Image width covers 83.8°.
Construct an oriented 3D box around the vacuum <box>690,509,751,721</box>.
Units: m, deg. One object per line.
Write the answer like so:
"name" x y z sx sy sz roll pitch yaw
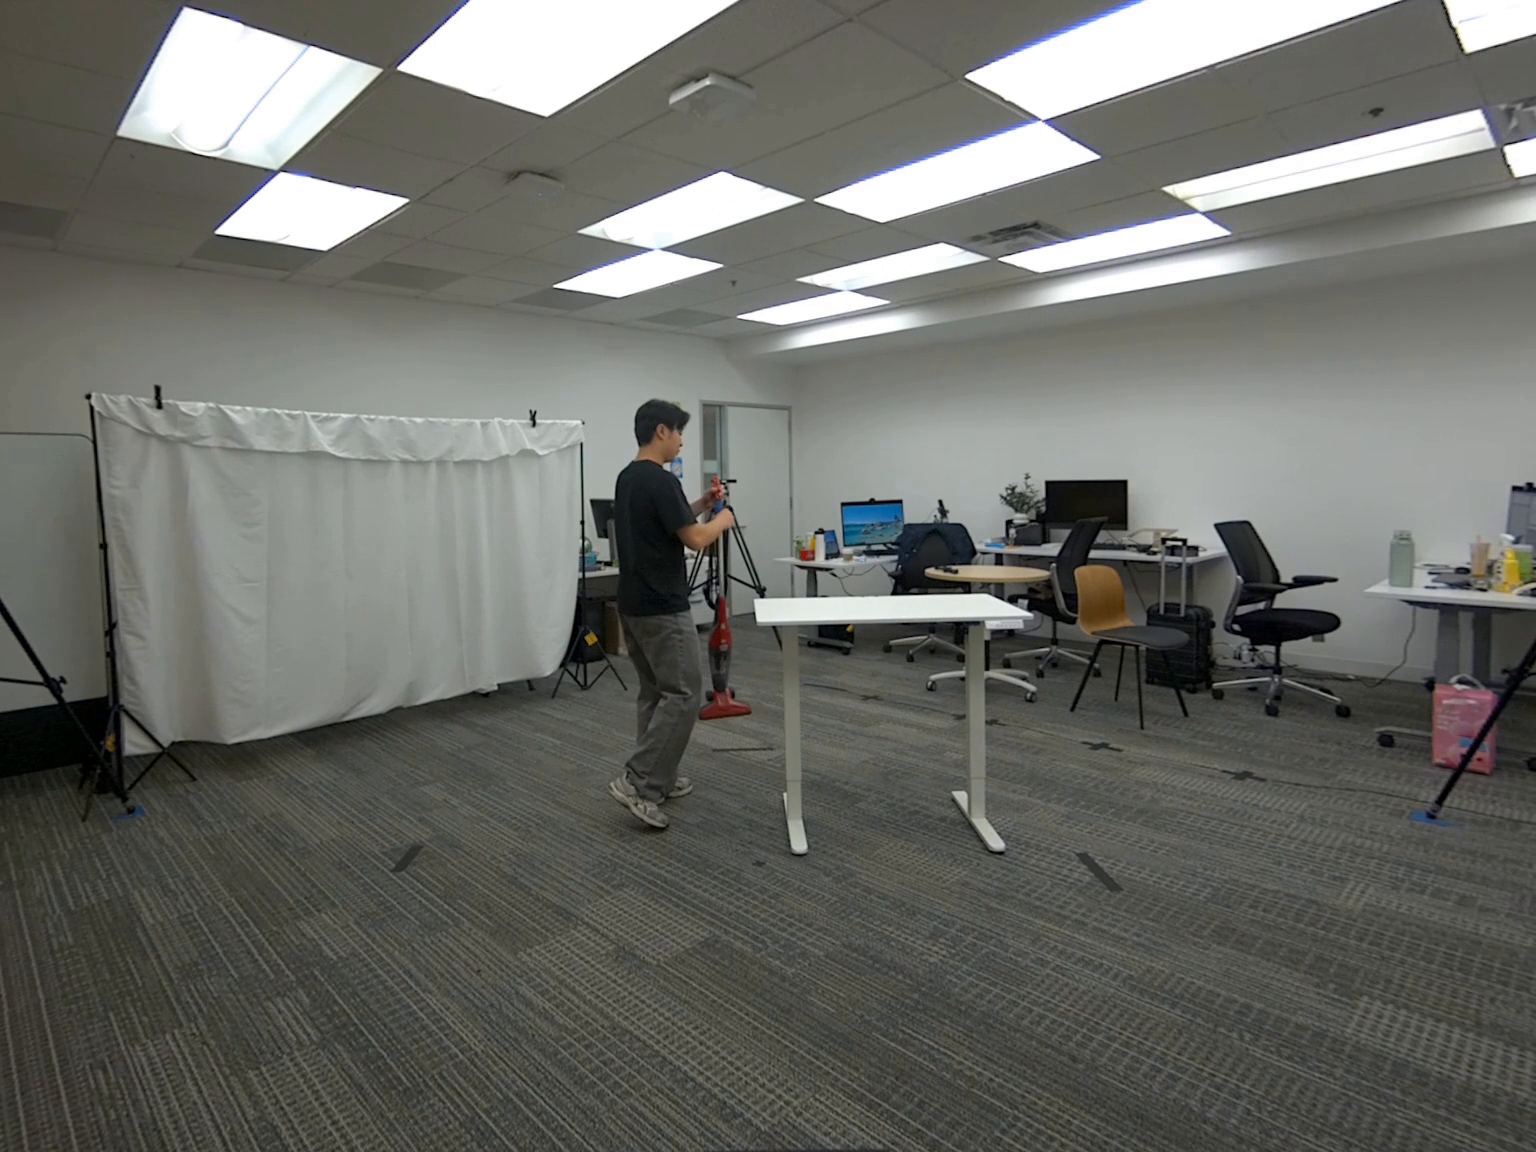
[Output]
"vacuum" -0.221 0.089 3.923 0.249 1.043 0.147 -3 6 -17
